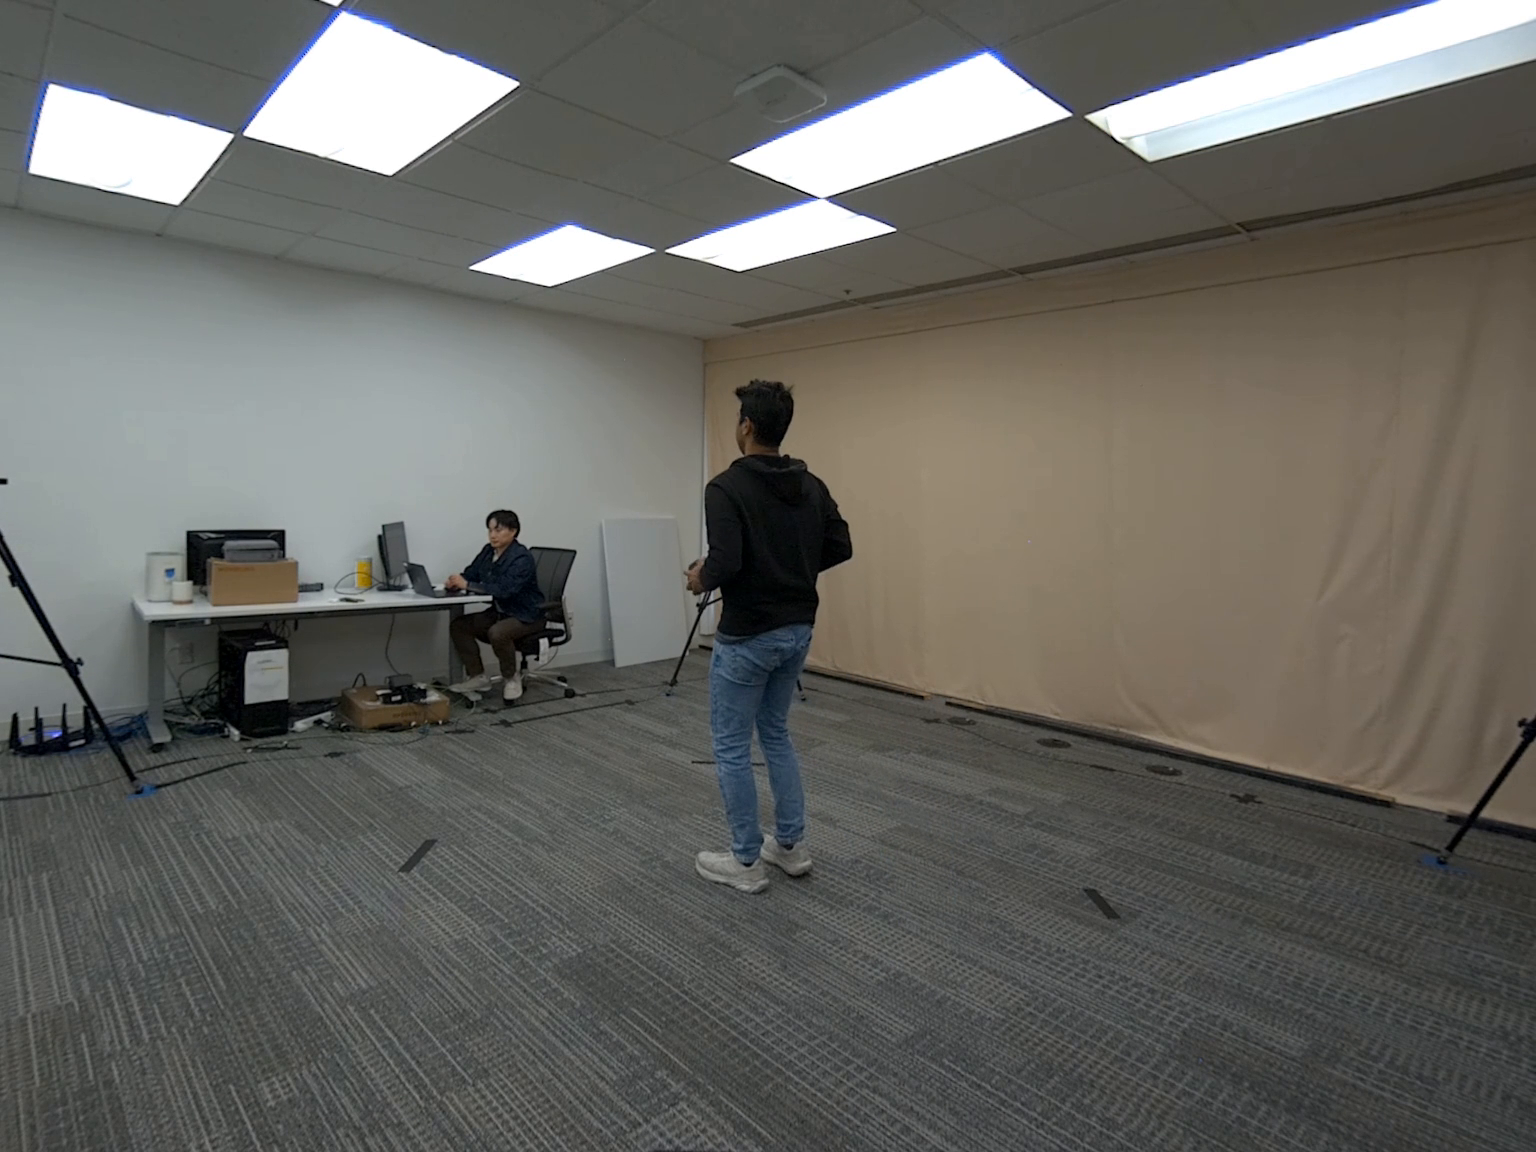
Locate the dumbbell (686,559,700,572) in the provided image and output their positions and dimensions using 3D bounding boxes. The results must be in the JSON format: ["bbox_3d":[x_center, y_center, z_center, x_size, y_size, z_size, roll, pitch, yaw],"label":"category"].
[{"bbox_3d":[-0.152,-0.025,3.168,0.287,0.107,0.127,-1,42,-32],"label":"dumbbell"}]
